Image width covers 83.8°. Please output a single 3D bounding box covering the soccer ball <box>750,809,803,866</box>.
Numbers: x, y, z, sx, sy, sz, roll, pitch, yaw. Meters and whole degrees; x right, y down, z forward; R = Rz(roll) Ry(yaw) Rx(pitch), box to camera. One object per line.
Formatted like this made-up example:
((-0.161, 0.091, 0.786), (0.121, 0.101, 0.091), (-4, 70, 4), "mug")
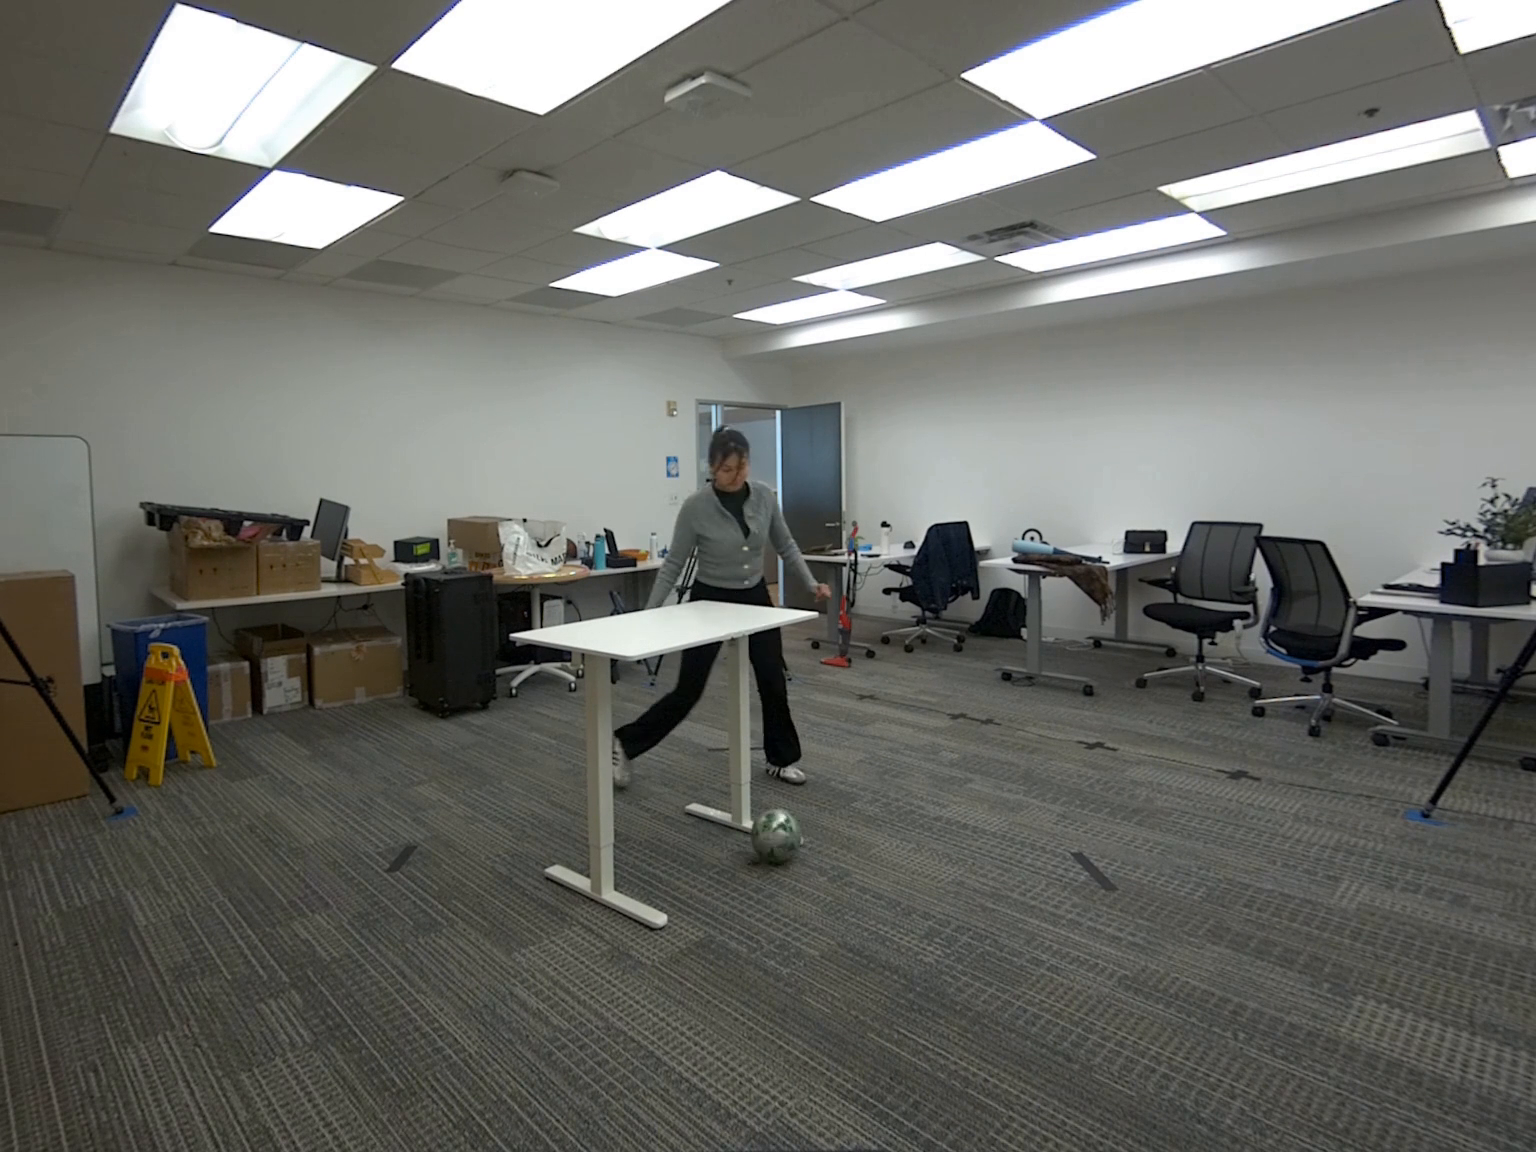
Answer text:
((0.025, 0.947, 3.115), (0.187, 0.187, 0.188), (-1, 5, -2), "soccer ball")
